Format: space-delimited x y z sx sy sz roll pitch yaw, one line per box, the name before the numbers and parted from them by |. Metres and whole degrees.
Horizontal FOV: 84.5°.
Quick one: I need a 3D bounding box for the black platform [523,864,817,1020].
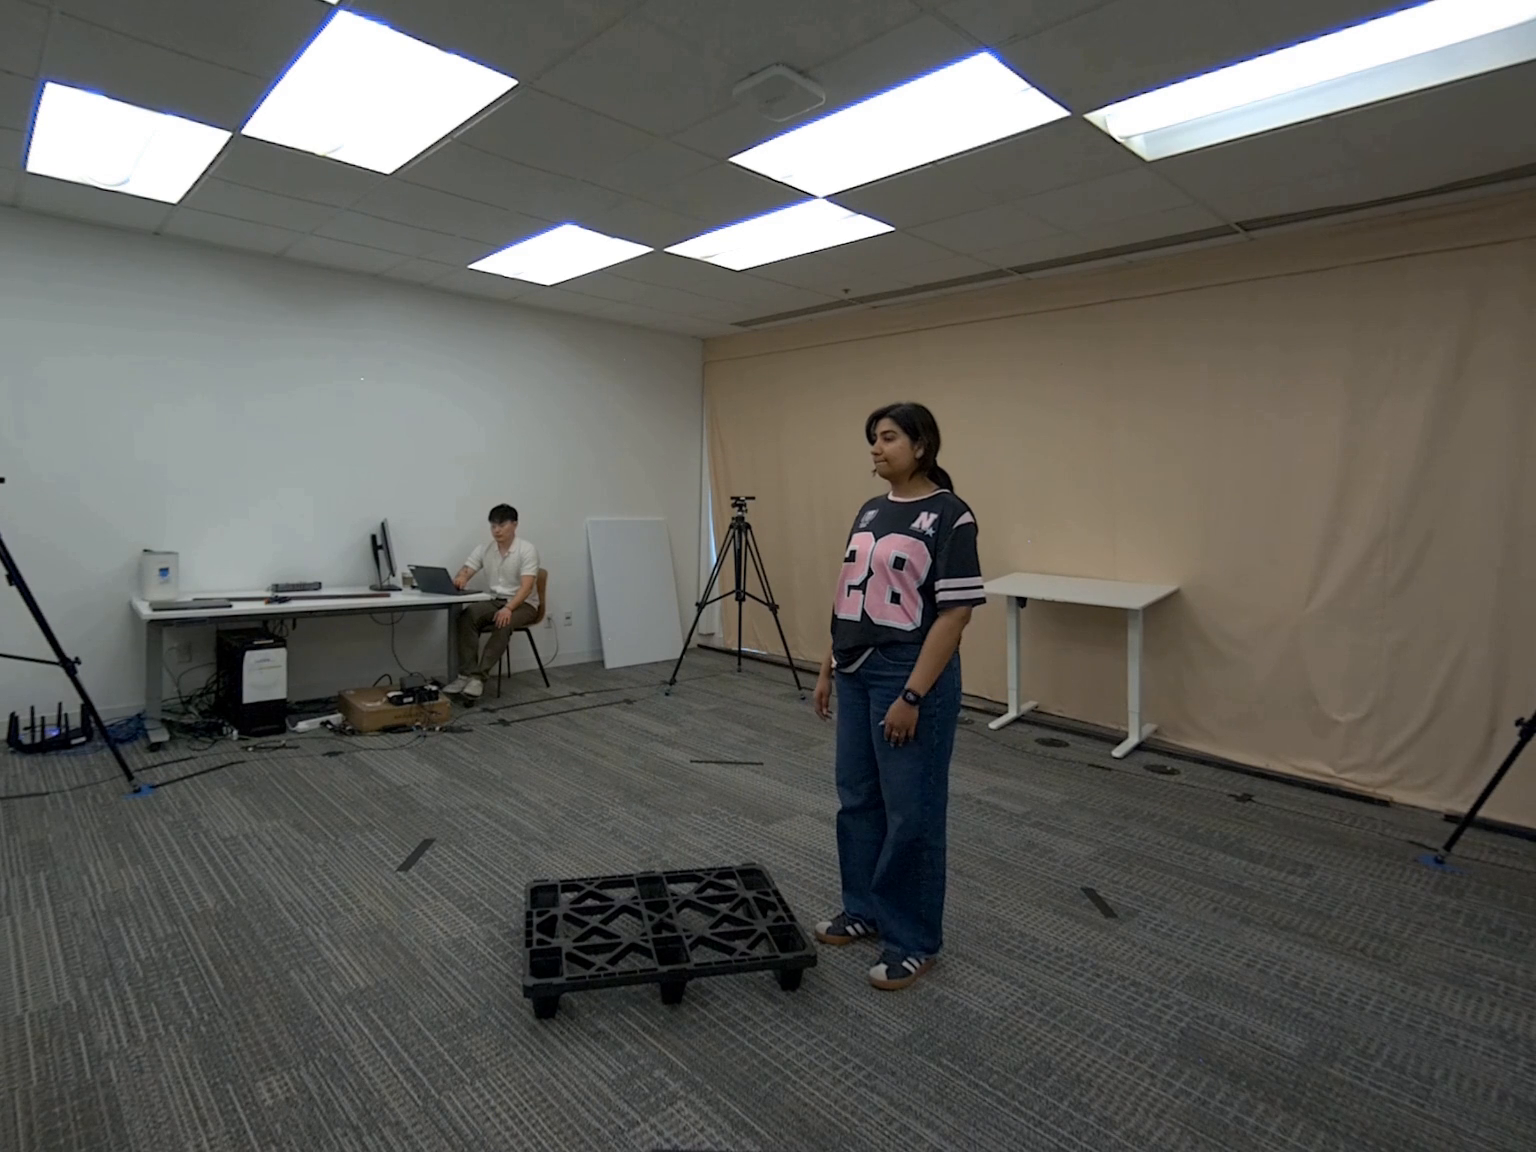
black platform | -0.321 1.084 2.527 0.797 0.143 0.614 0 6 -13
